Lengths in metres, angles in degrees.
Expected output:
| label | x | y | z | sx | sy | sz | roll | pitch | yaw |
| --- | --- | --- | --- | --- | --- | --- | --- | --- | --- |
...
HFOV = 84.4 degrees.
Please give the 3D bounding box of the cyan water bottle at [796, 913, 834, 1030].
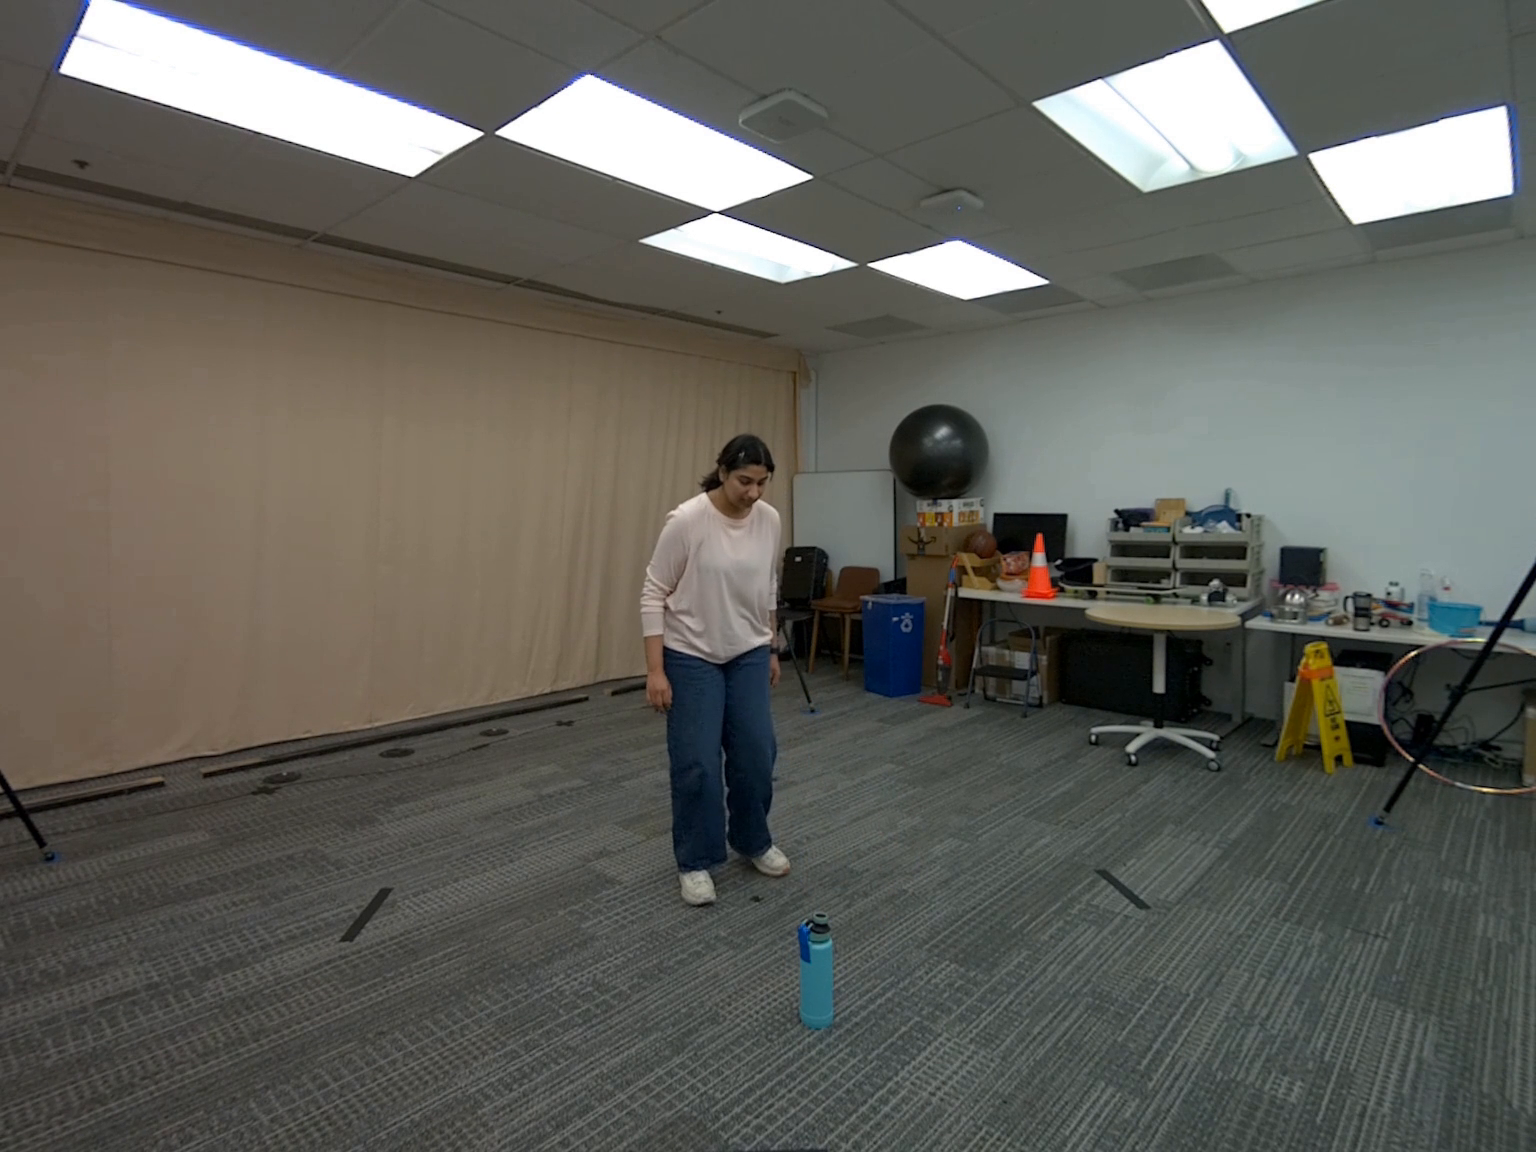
| label | x | y | z | sx | sy | sz | roll | pitch | yaw |
| --- | --- | --- | --- | --- | --- | --- | --- | --- | --- |
| cyan water bottle | 0.135 | 1.064 | 2.270 | 0.092 | 0.283 | 0.092 | -1 | 3 | -2 |
